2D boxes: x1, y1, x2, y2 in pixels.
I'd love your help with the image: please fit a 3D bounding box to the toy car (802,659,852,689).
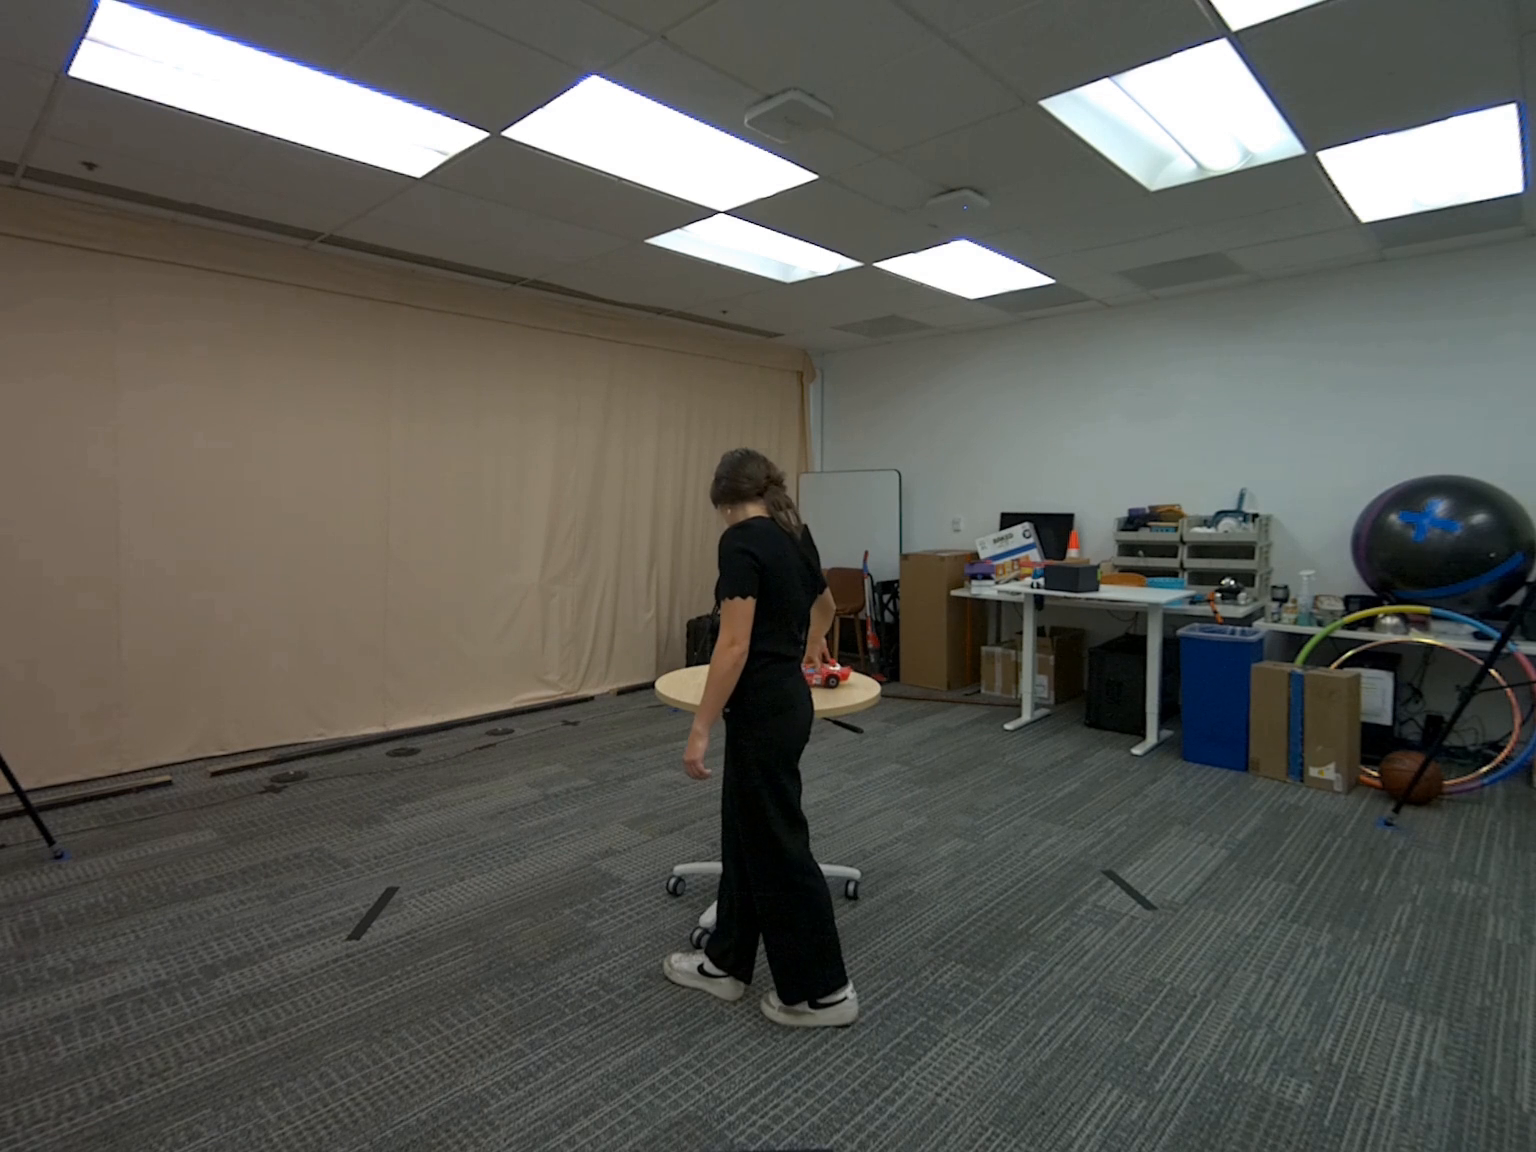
[{"bbox_3d":[0.167,0.343,2.846,0.254,0.083,0.131,-13,5,-2],"label":"toy car"}]
